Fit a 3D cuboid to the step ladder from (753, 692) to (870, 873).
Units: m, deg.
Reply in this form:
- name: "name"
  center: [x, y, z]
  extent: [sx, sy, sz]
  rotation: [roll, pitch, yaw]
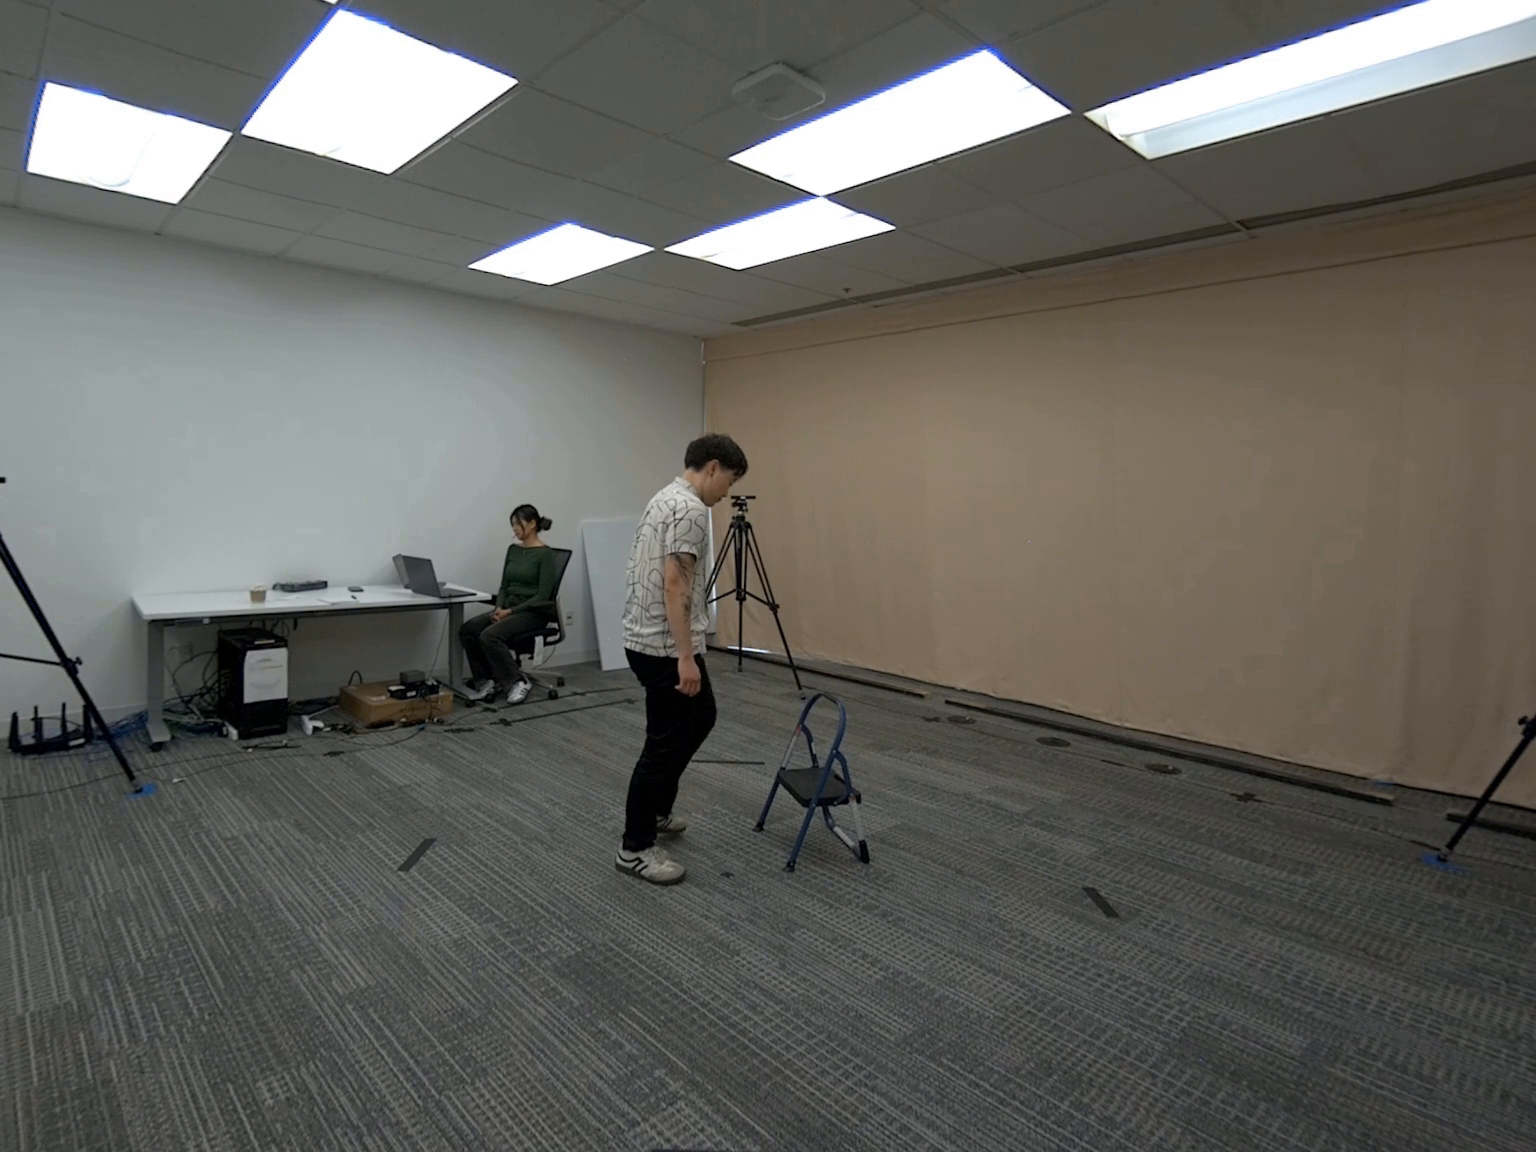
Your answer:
- name: "step ladder"
  center: [0.167, 0.782, 3.366]
  extent: [0.345, 0.605, 0.437]
  rotation: [1, 3, -17]
